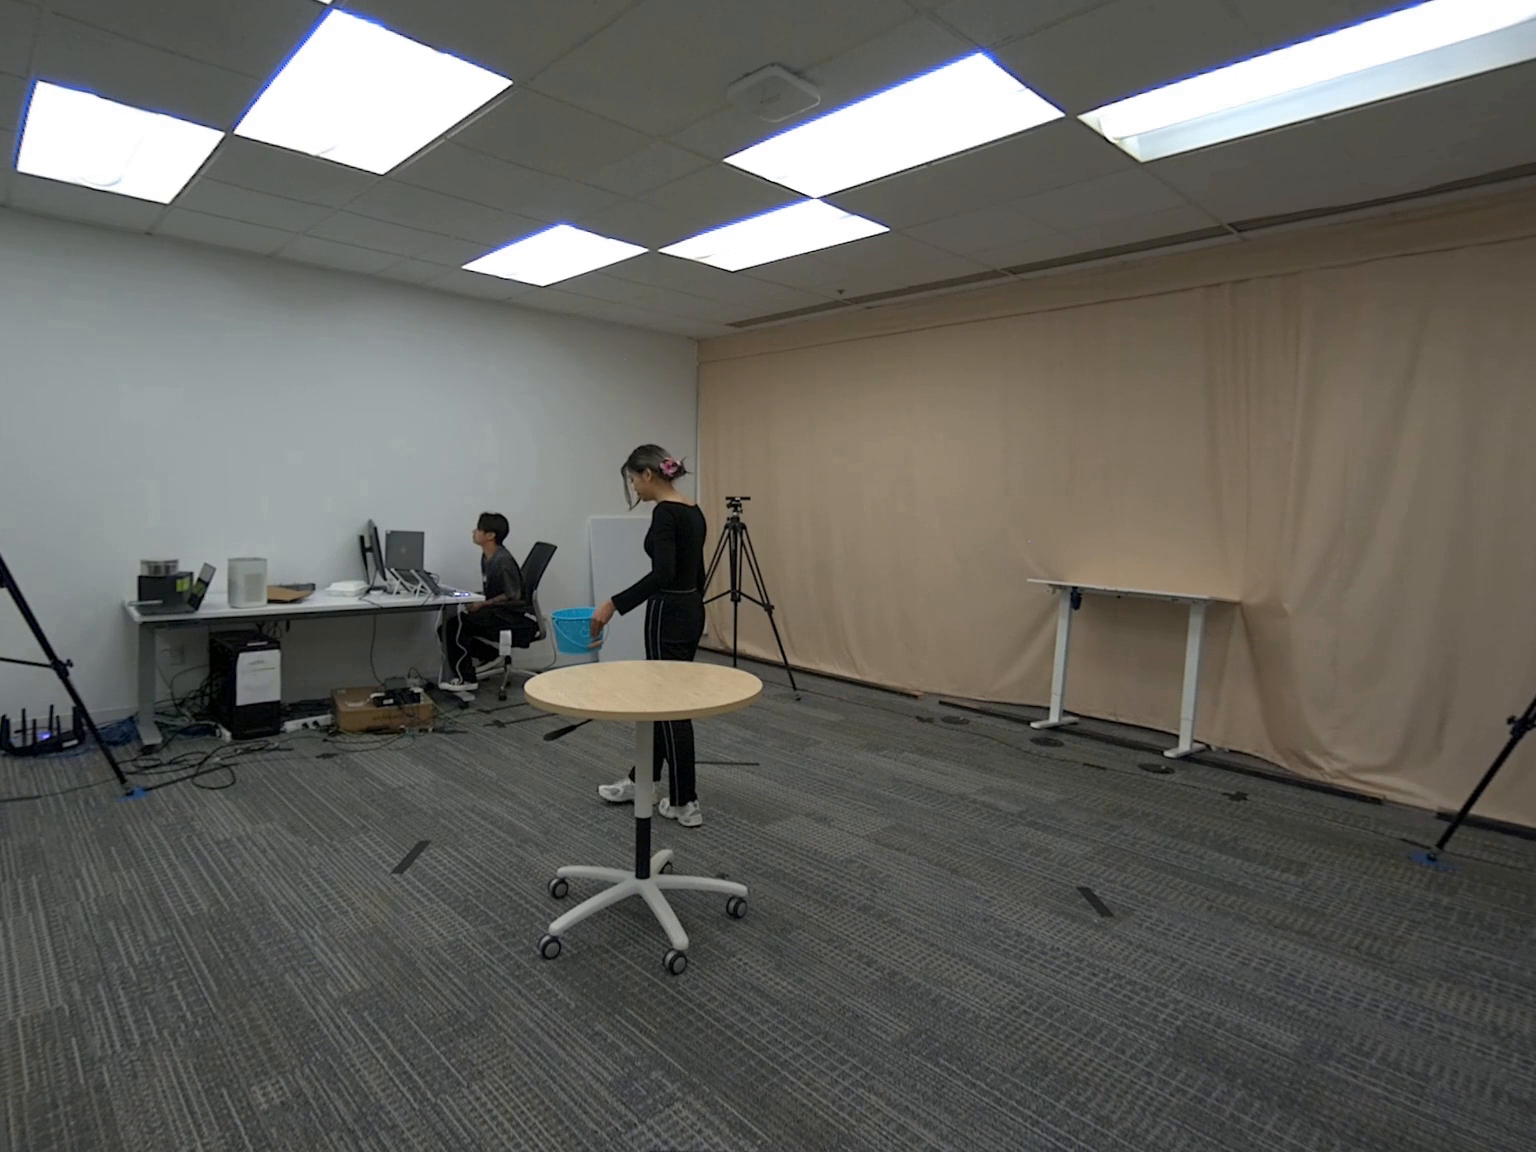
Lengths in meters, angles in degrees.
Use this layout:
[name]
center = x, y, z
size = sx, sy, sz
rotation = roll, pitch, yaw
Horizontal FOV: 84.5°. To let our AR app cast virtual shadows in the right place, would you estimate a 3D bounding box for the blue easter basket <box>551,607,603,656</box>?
[blue easter basket]
center = -0.790, 0.226, 3.484
size = 0.243, 0.155, 0.245
rotation = 0, 9, -1
